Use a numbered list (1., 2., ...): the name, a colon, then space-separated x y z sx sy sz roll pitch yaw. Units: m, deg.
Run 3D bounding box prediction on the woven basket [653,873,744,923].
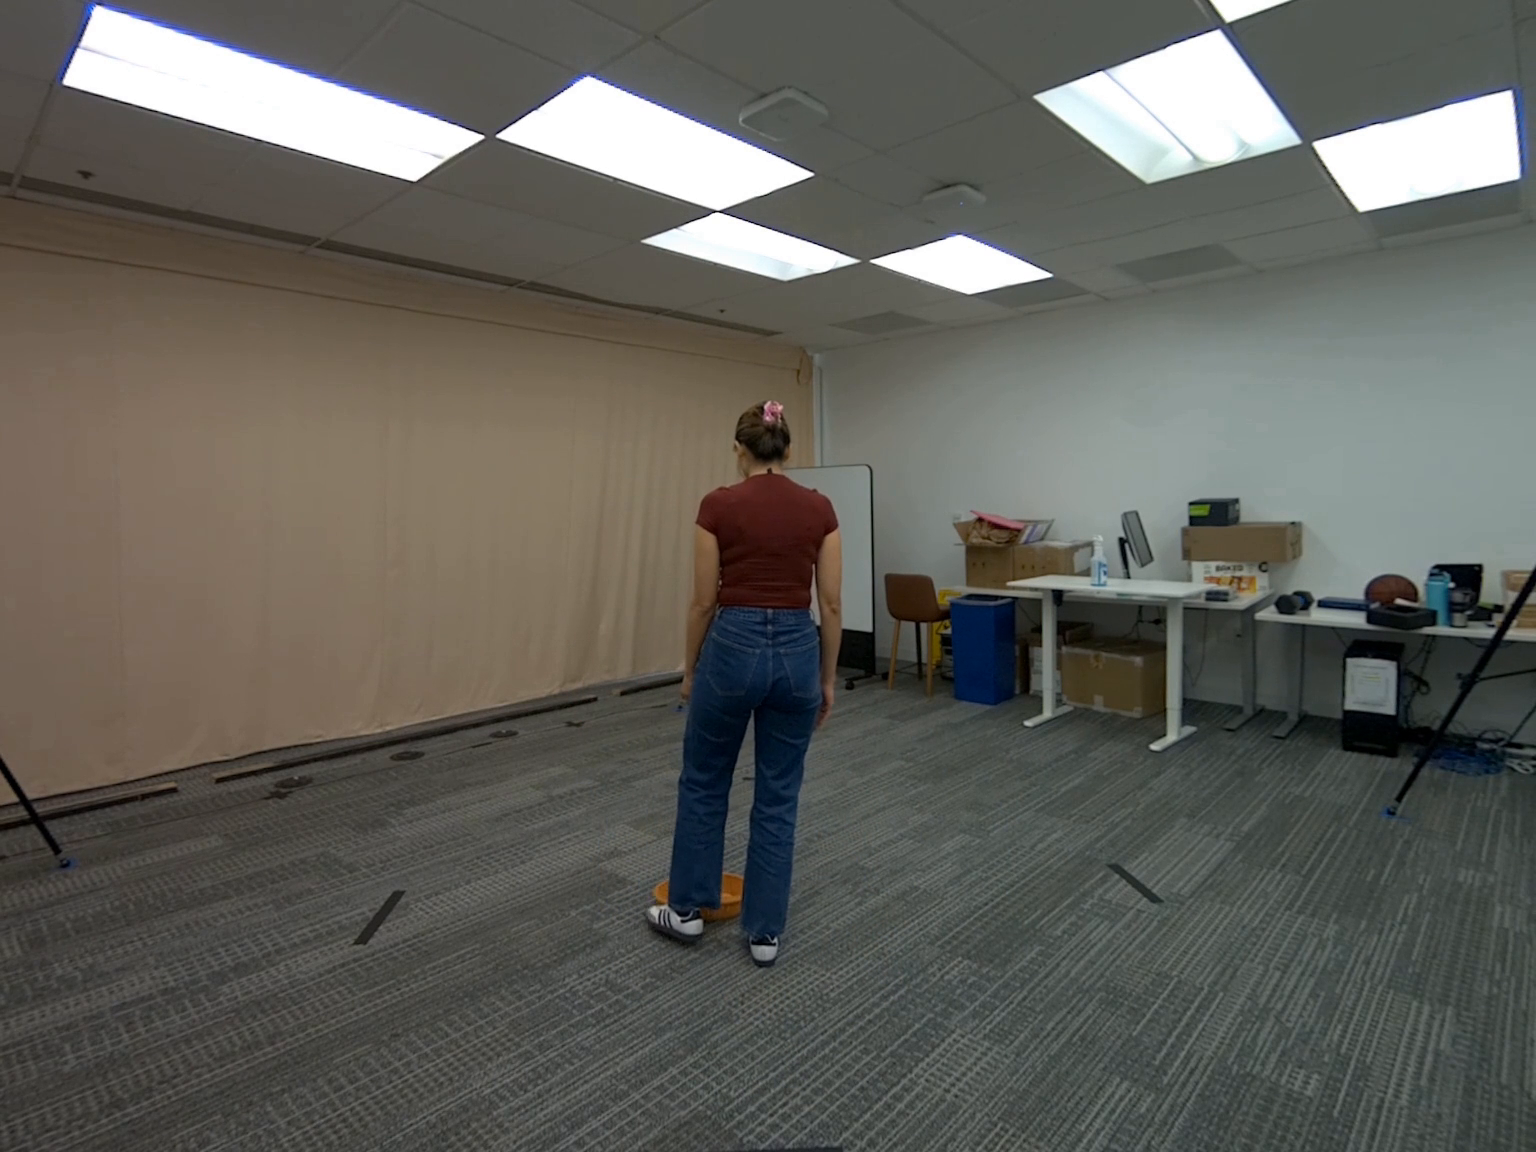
1. woven basket: -0.218 1.112 2.907 0.348 0.073 0.254 -2 4 -6
